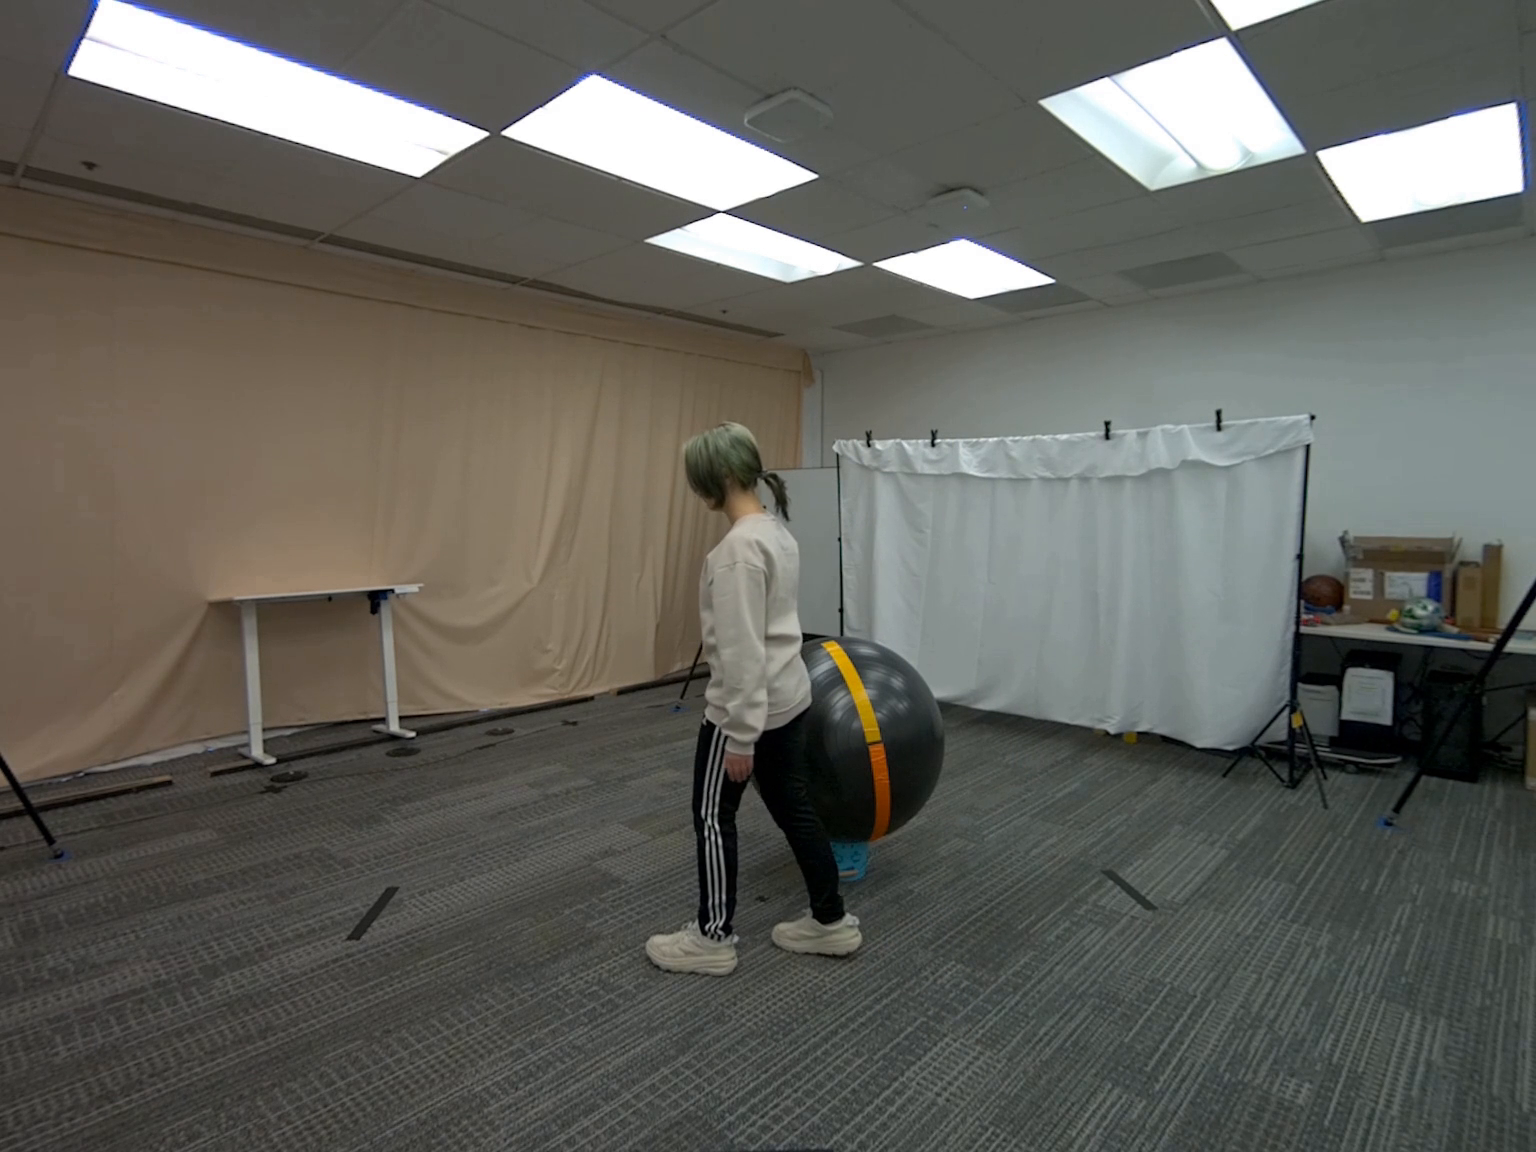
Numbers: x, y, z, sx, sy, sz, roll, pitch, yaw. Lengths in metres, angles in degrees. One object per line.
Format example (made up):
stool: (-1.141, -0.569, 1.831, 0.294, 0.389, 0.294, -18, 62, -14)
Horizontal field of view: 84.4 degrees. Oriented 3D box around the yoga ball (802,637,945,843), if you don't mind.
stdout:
yoga ball: (0.284, 0.619, 3.192, 0.757, 0.756, 0.760, 0, 4, -2)
